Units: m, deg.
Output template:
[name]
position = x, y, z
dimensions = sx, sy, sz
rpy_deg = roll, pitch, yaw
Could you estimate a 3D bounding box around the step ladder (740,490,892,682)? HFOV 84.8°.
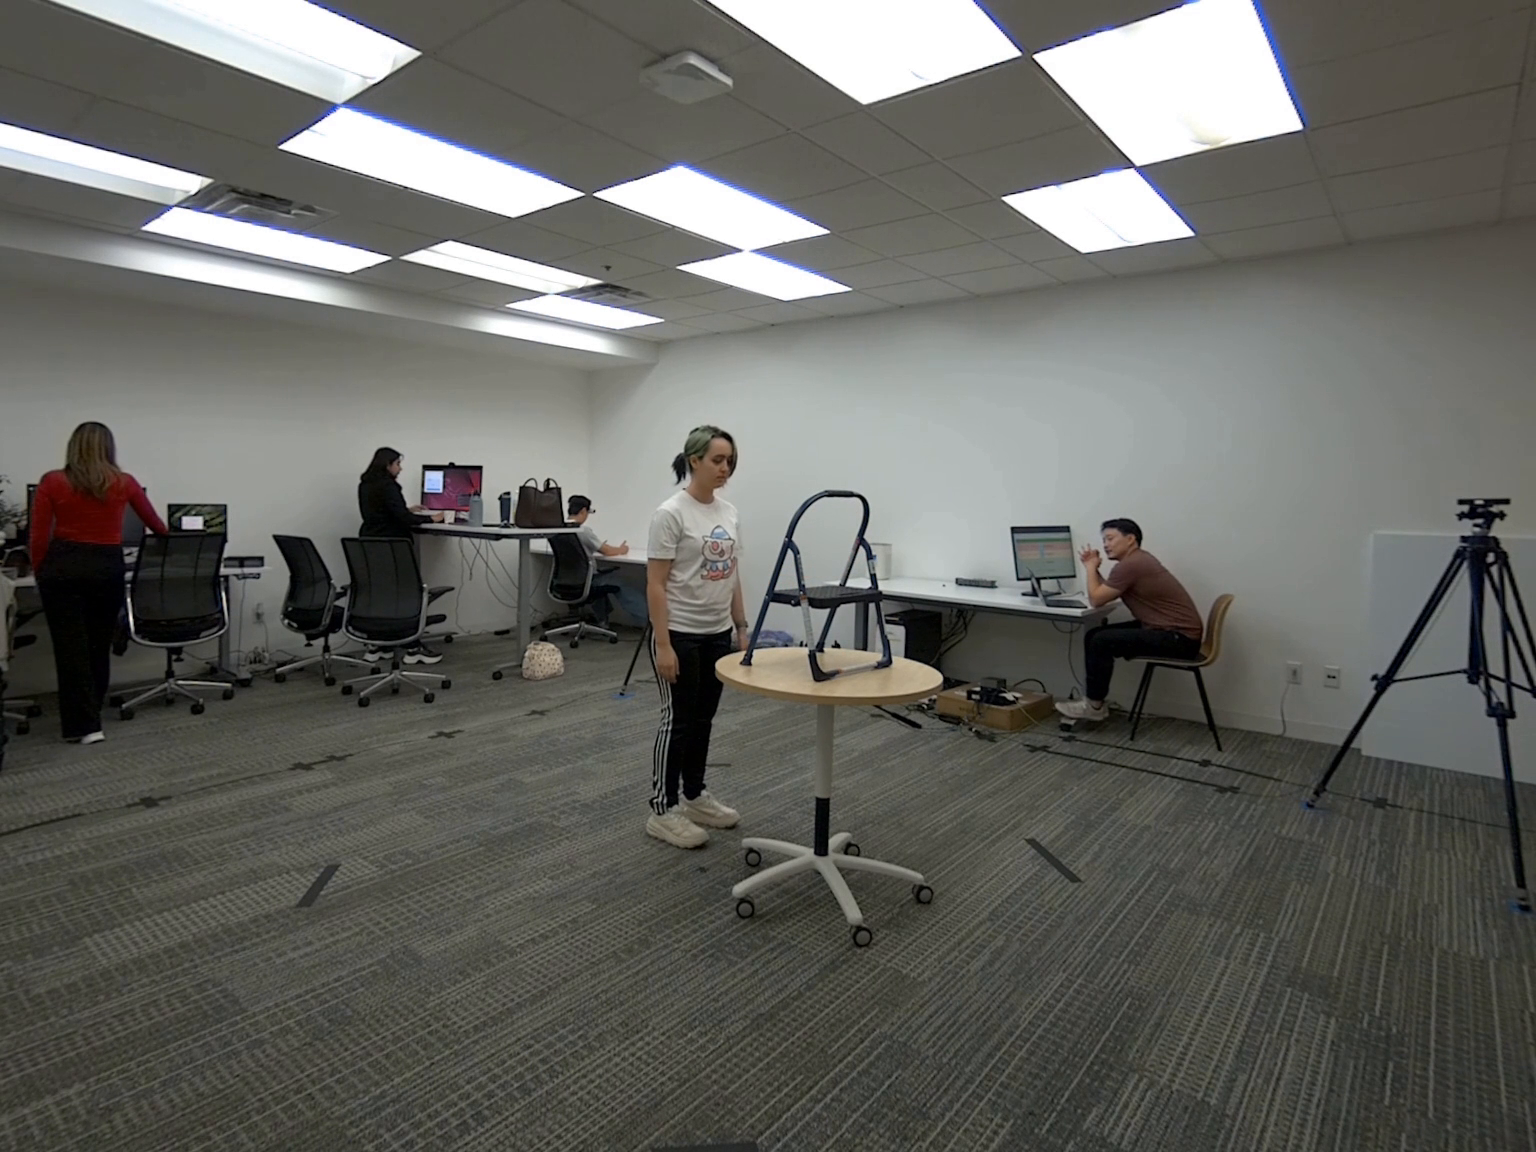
[step ladder]
position = 0.177, 0.008, 2.939
dimensions = 0.361, 0.604, 0.417
rpy_deg = 5, 5, 44
